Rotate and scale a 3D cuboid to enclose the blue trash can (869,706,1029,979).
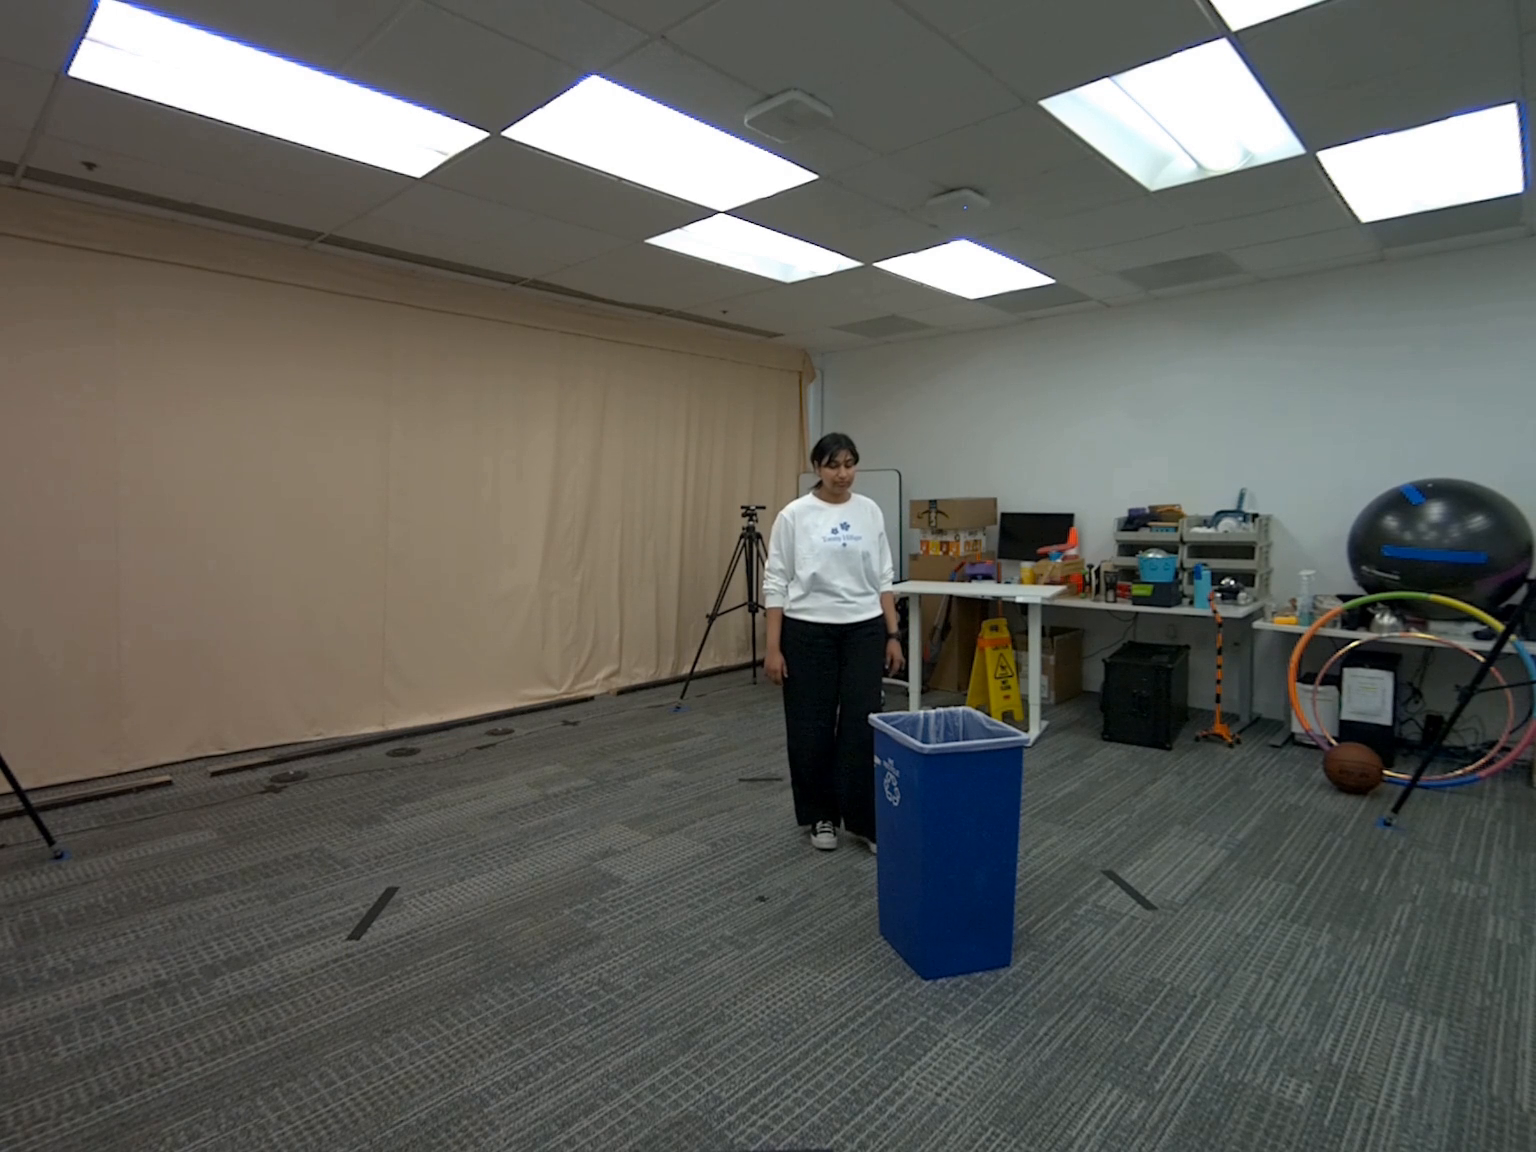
[{"bbox_3d":[0.552,0.811,2.624,0.372,0.712,0.381,-1,3,-17],"label":"blue trash can"}]
